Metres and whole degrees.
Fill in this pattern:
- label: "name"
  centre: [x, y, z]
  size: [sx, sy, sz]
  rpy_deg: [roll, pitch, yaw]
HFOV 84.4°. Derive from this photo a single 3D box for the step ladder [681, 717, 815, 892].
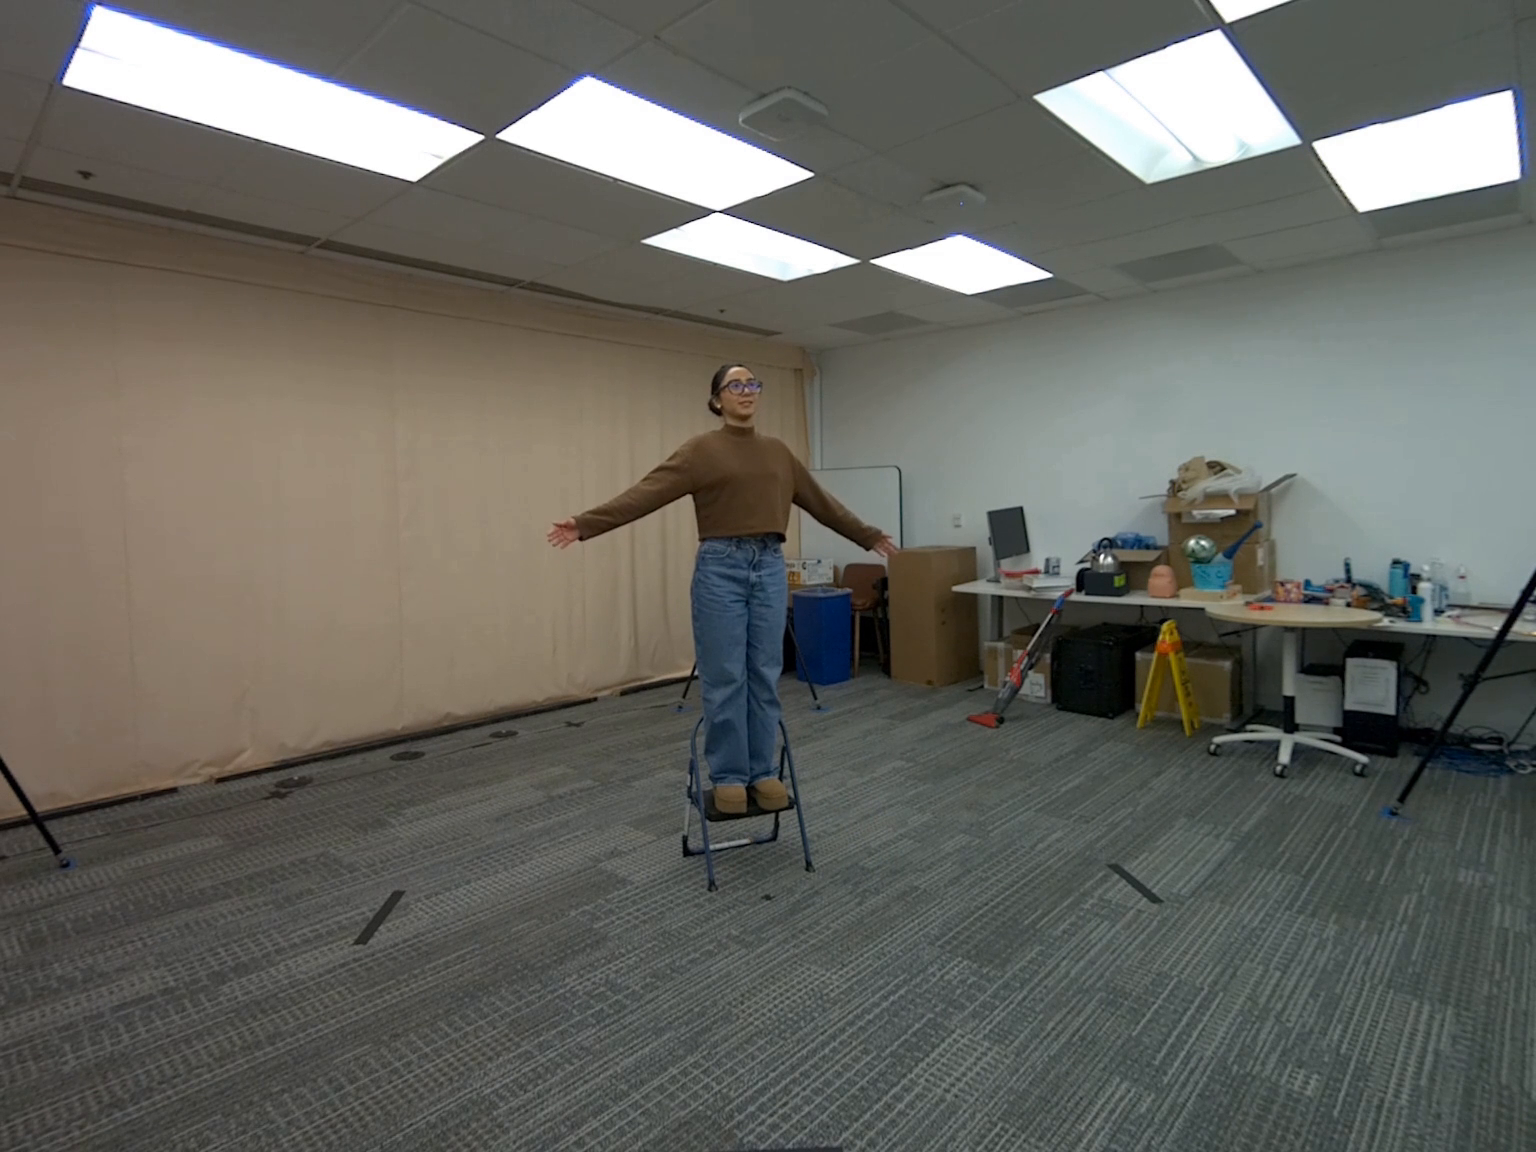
- label: "step ladder"
  centre: [-0.089, 0.819, 3.261]
  size: [0.421, 0.605, 0.358]
  rpy_deg: [-3, 4, -23]
